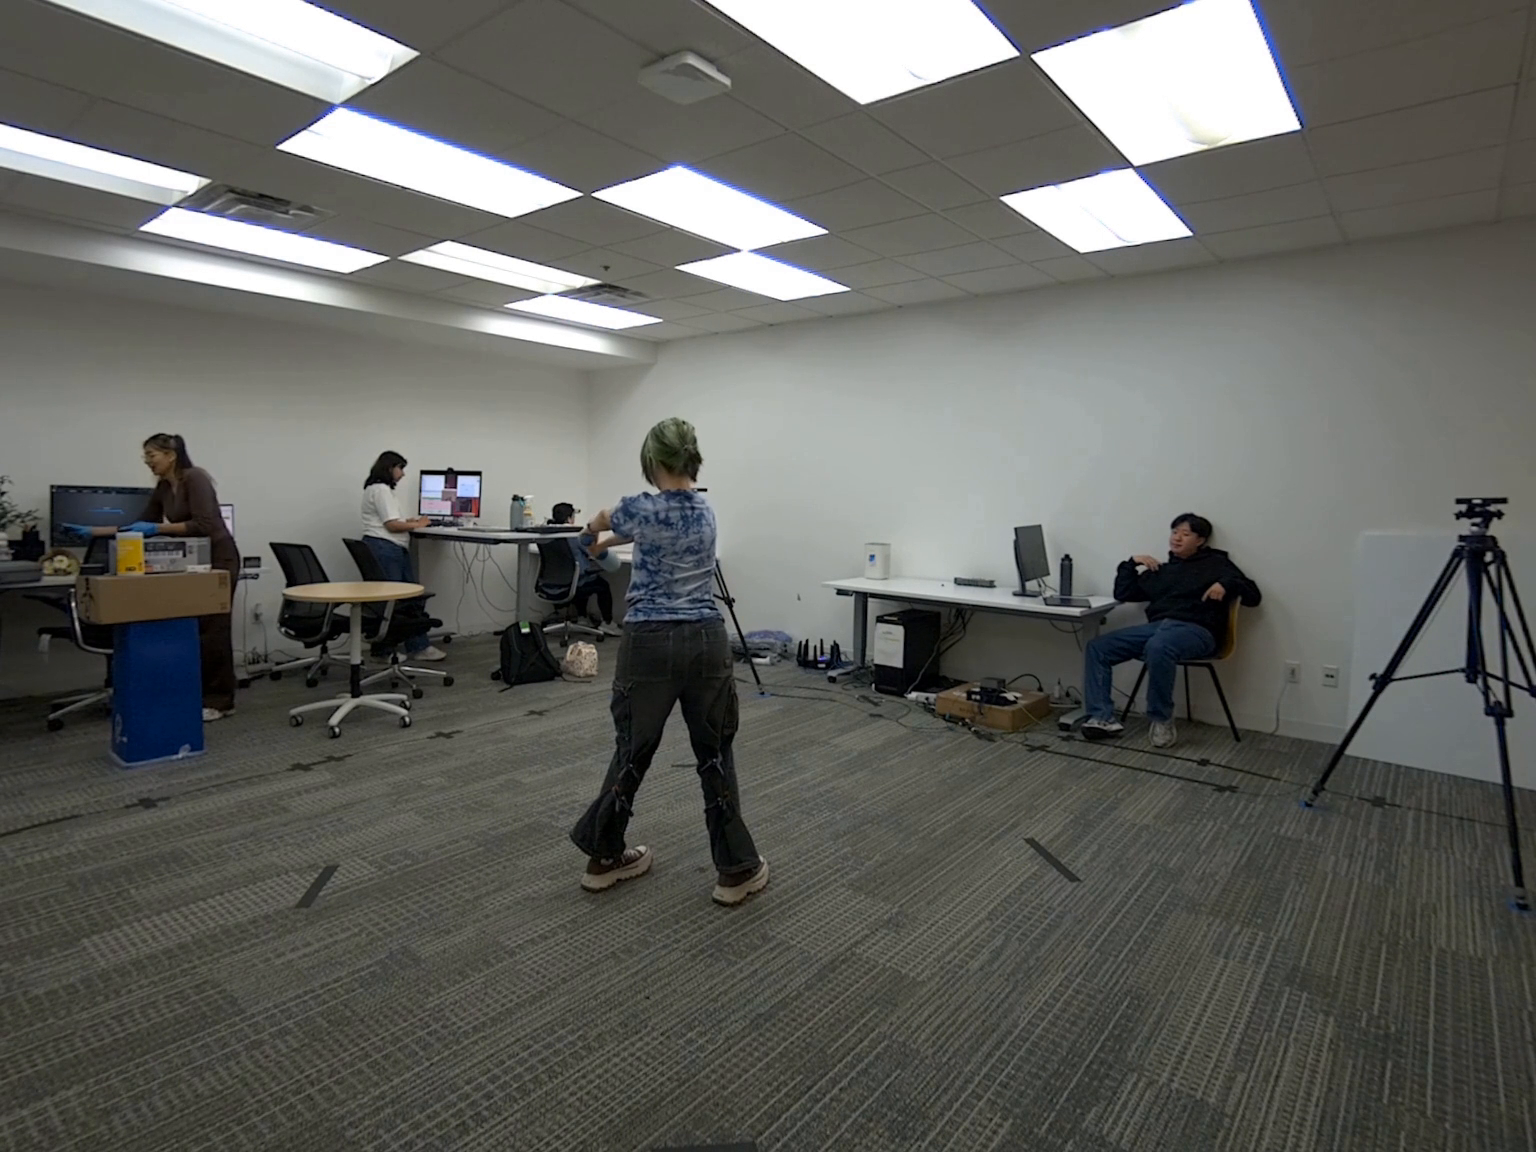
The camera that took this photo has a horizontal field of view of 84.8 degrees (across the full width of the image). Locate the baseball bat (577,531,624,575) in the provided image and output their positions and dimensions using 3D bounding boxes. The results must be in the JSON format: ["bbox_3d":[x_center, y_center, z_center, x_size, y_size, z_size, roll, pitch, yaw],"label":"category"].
[{"bbox_3d":[-0.709,-0.094,3.580,0.089,0.090,0.537,1,-9,0],"label":"baseball bat"}]
